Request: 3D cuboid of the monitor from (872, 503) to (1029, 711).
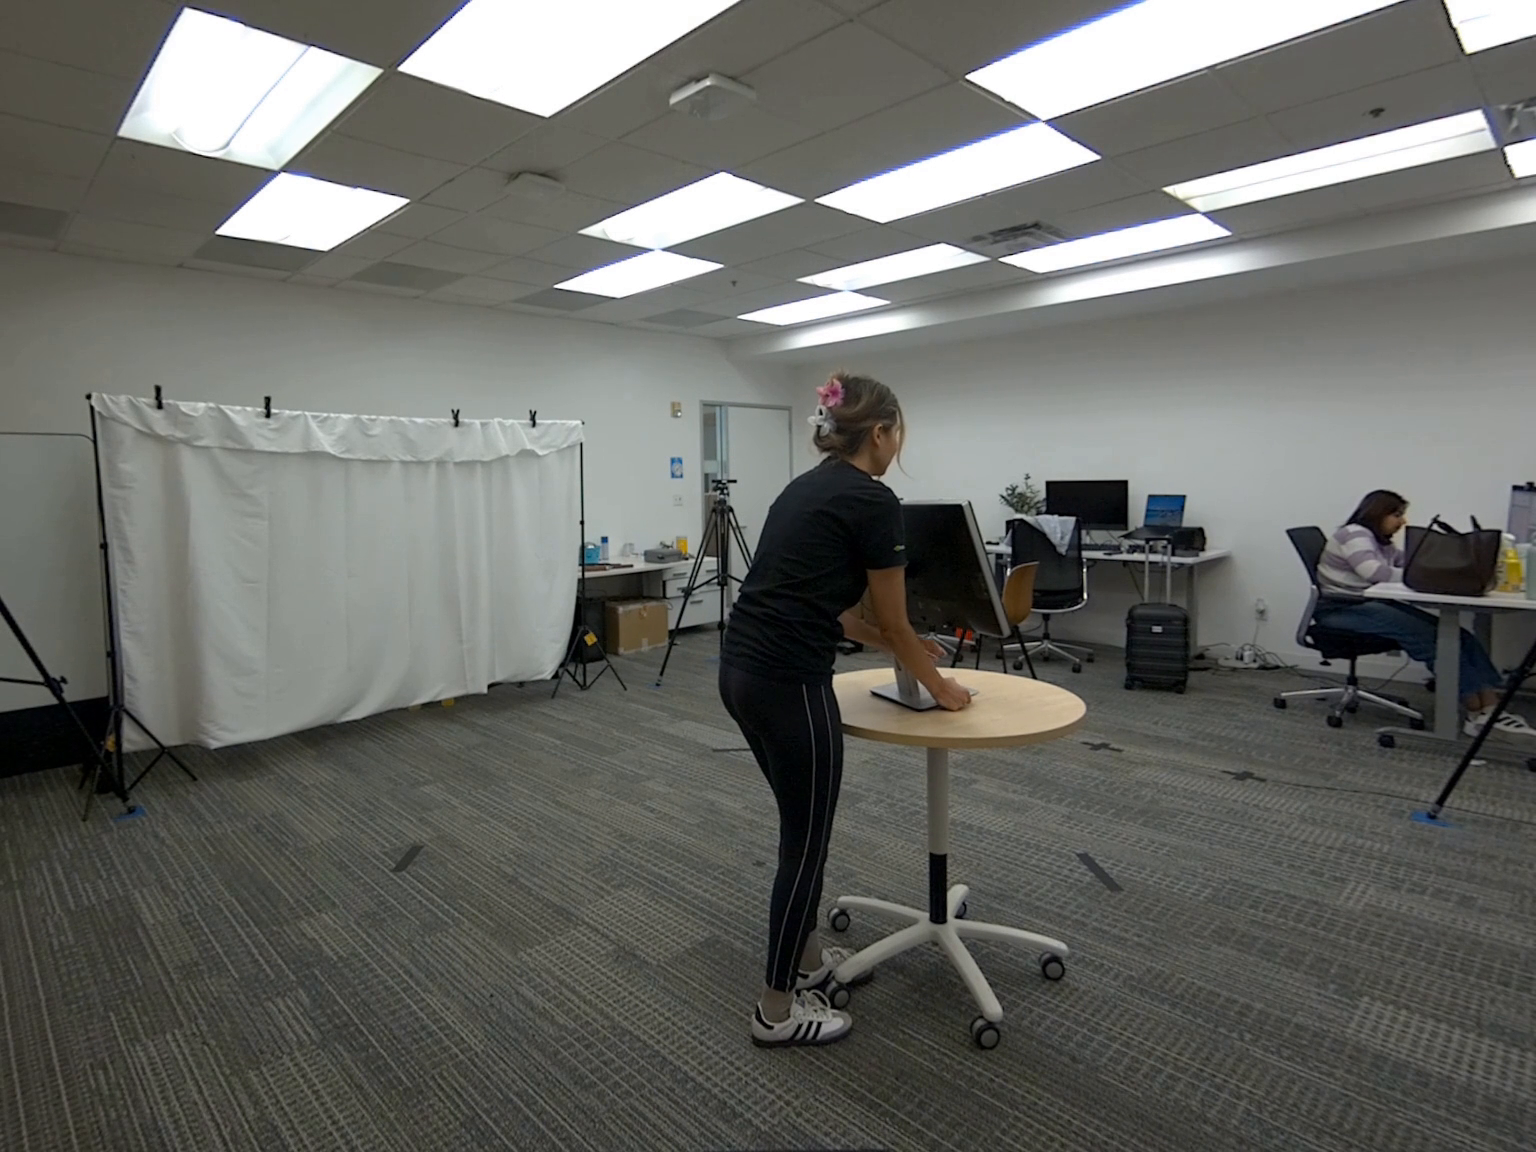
[{"bbox_3d":[0.393,0.067,2.340,0.183,0.520,0.553,-9,6,-28],"label":"monitor"}]
